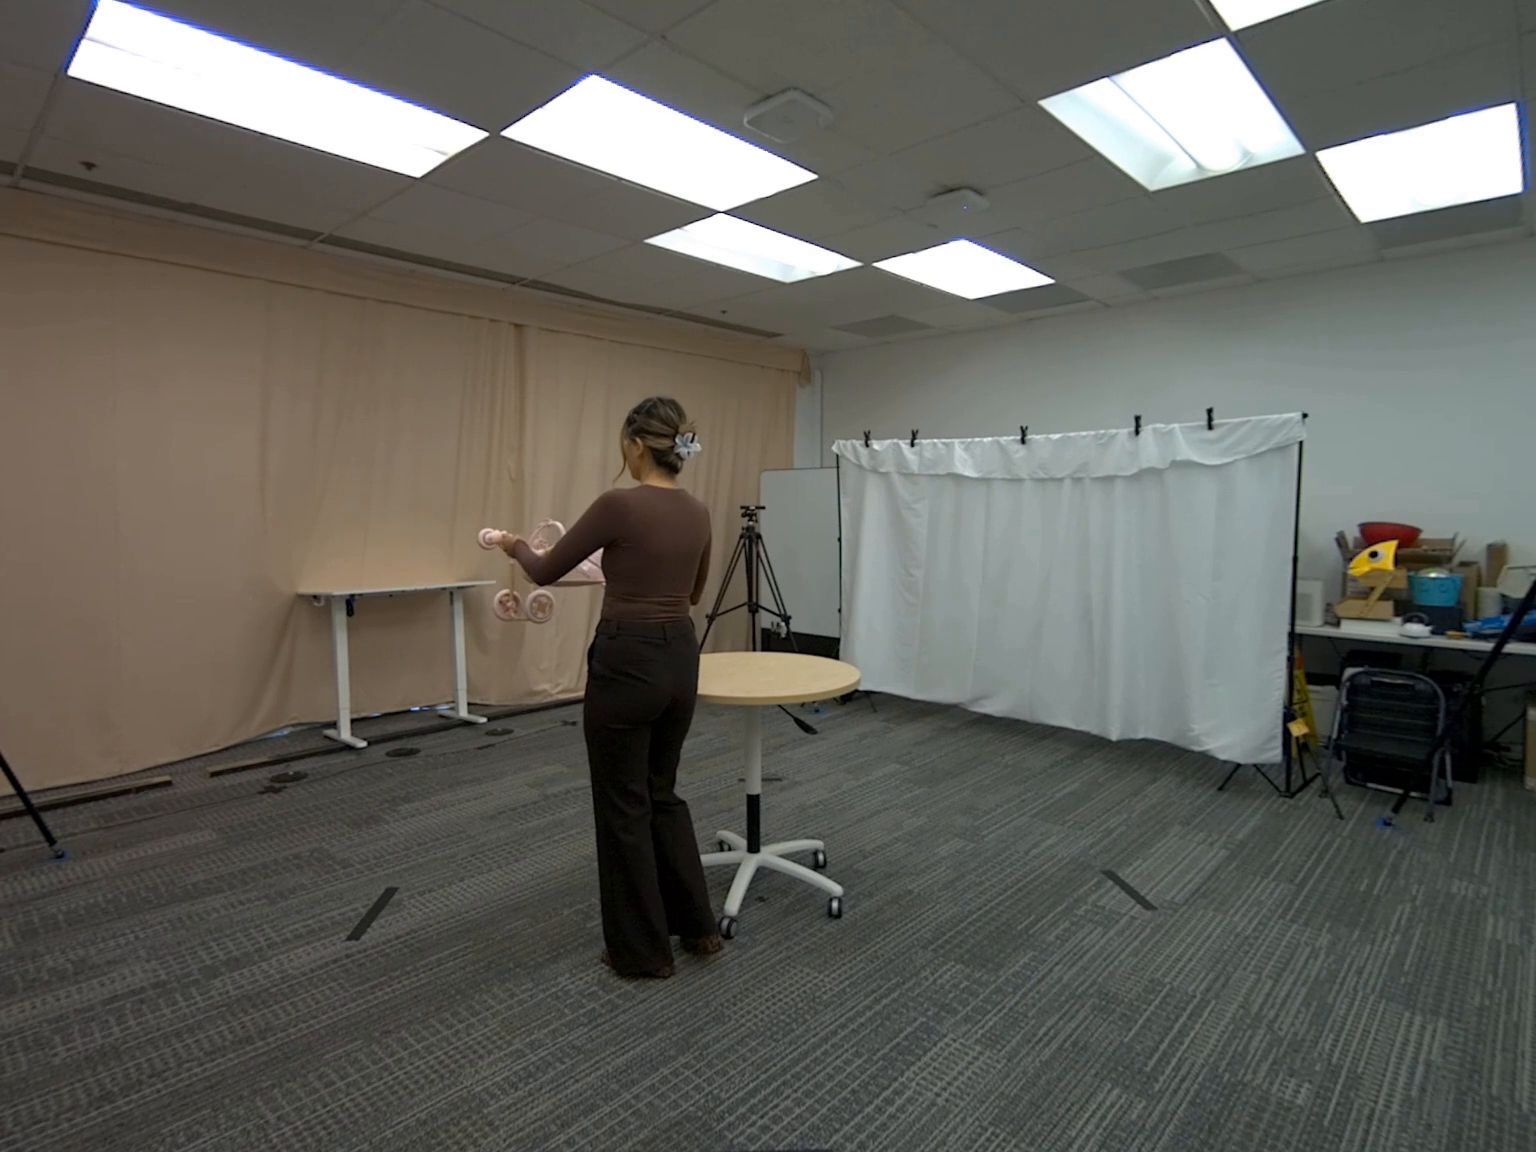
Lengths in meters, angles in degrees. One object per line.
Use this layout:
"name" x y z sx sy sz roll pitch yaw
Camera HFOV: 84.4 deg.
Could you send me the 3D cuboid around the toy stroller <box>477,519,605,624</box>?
"toy stroller" -0.729 -0.033 2.902 0.521 0.341 0.289 -14 4 -37
